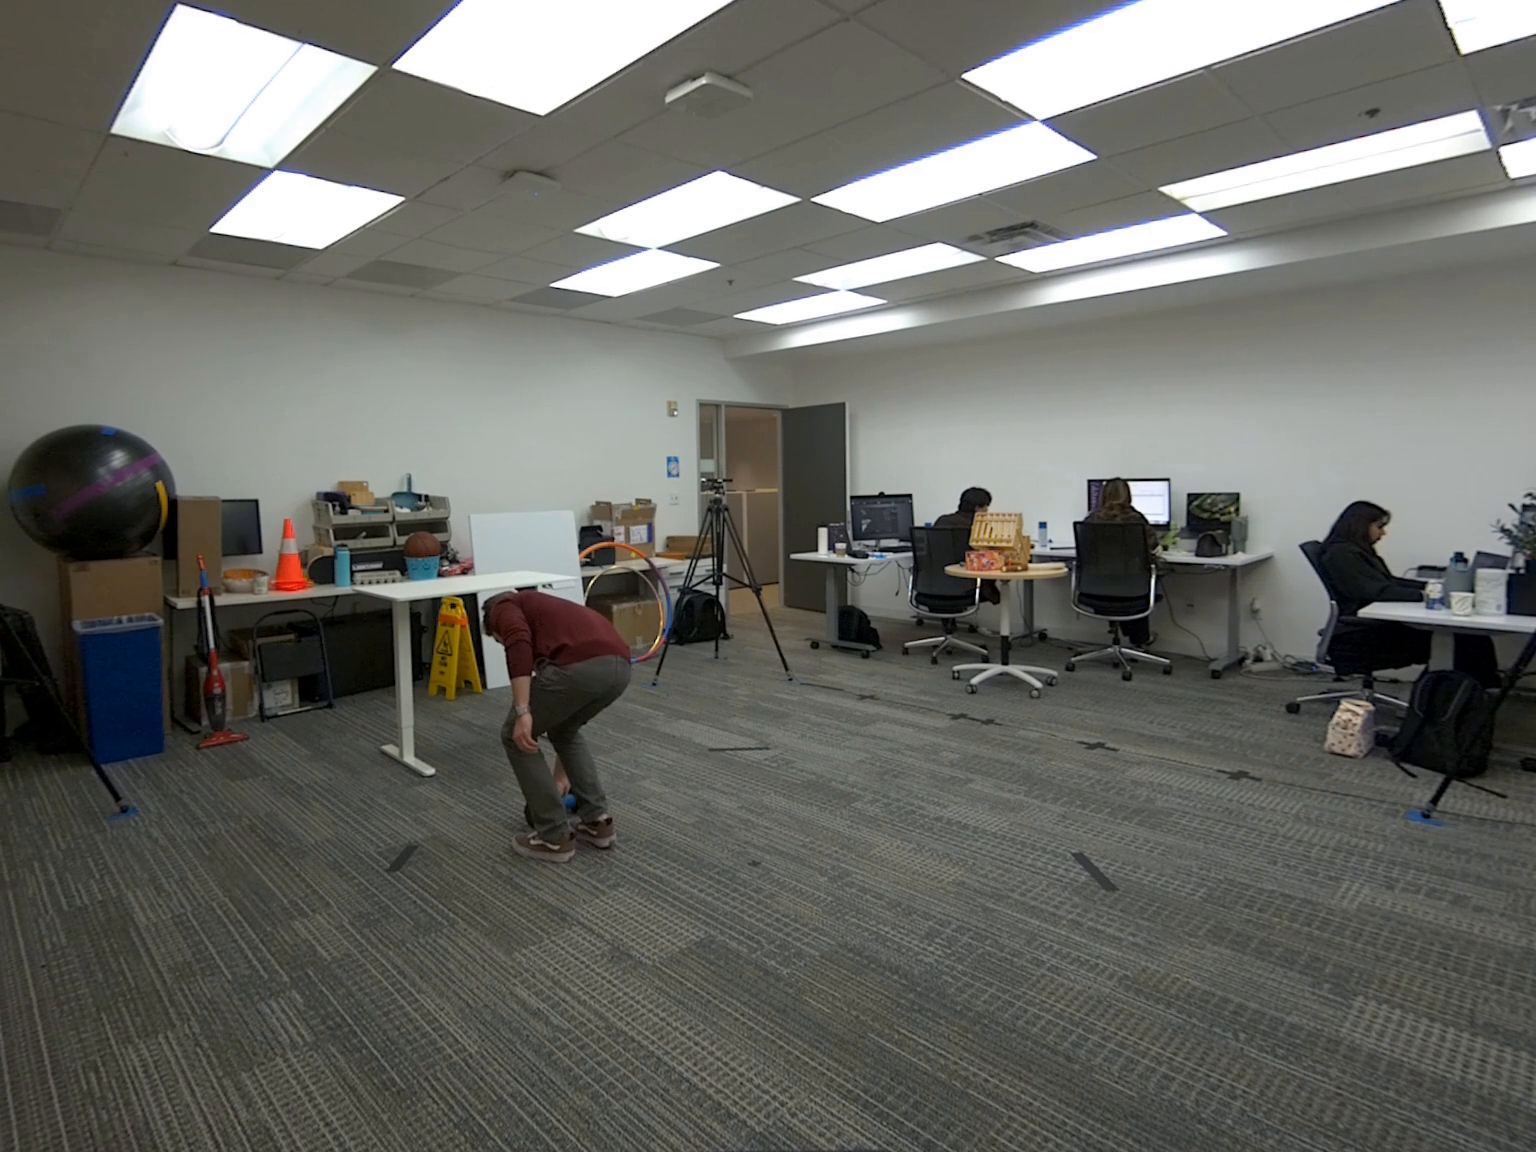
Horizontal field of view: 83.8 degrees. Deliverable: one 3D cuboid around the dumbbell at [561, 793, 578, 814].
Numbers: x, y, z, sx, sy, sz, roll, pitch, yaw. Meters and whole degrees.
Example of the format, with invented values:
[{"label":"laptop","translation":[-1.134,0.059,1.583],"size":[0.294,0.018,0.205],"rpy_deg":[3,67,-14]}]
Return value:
[{"label":"dumbbell","translation":[-0.867,0.957,3.576],"size":[0.286,0.126,0.109],"rpy_deg":[-6,-25,-46]}]
